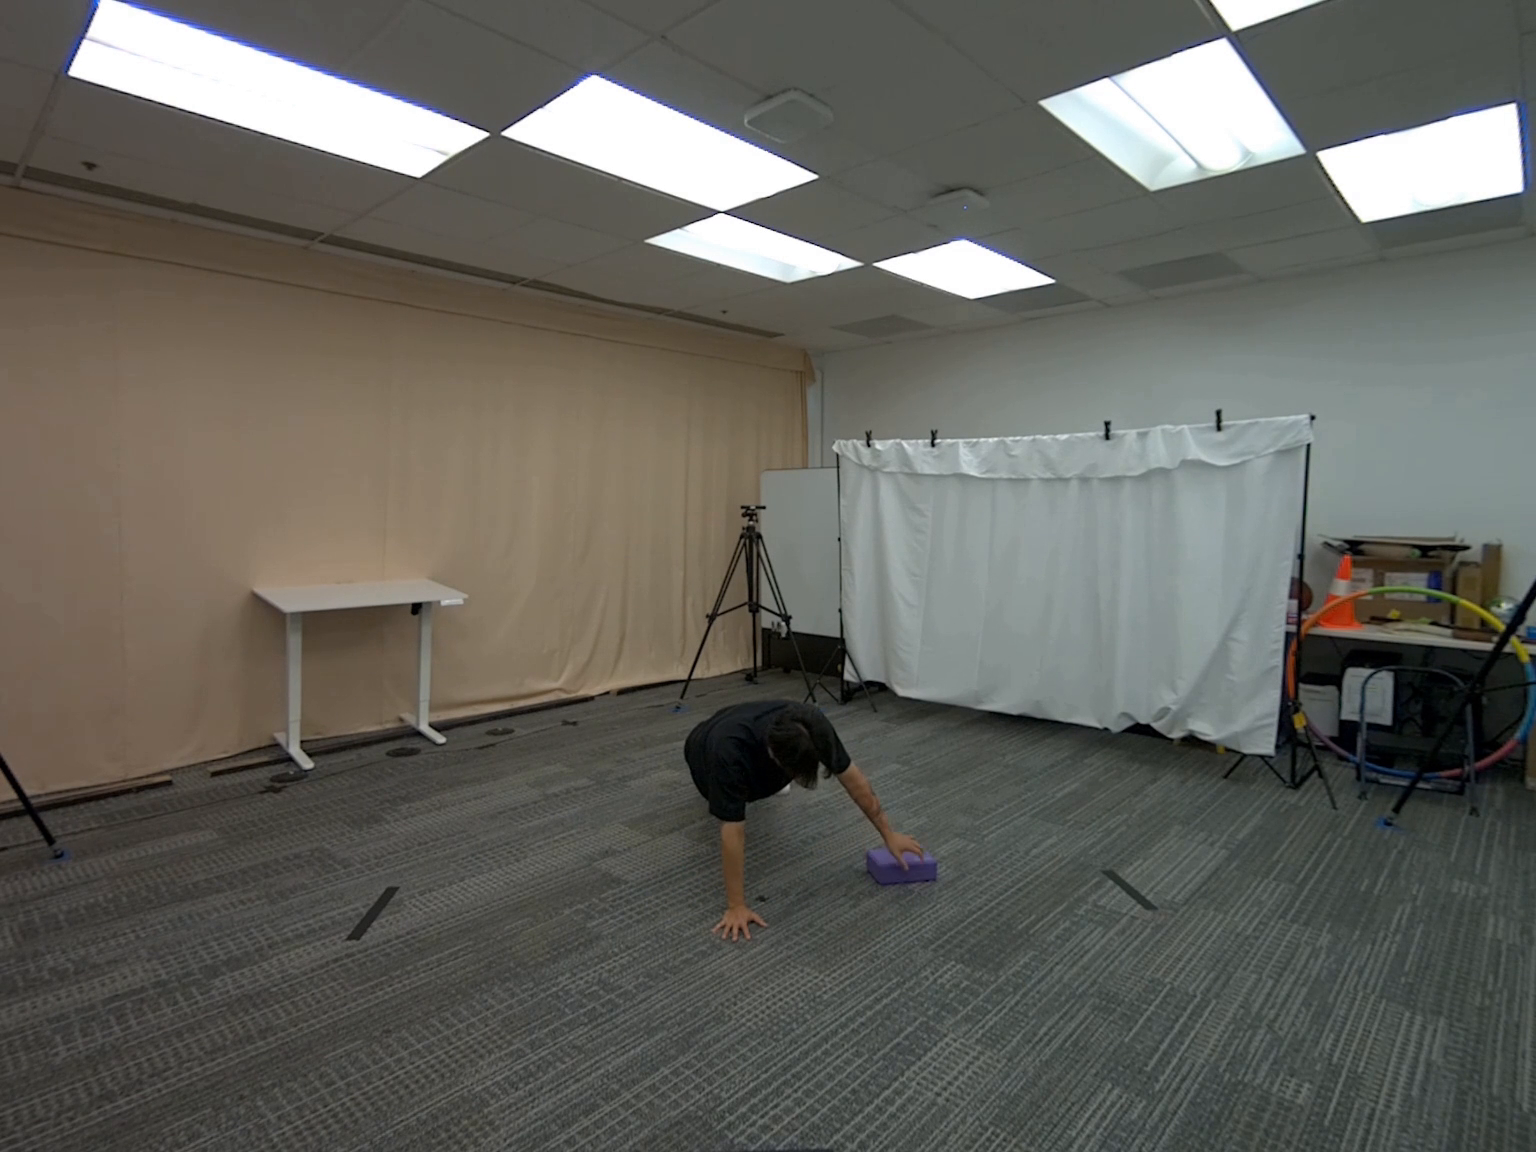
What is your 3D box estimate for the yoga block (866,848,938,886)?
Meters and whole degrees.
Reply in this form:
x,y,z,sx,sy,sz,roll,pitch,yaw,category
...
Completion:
x,y,z,sx,sy,sz,roll,pitch,yaw,category
0.507,1.084,3.164,0.227,0.076,0.151,-2,5,-11,yoga block
